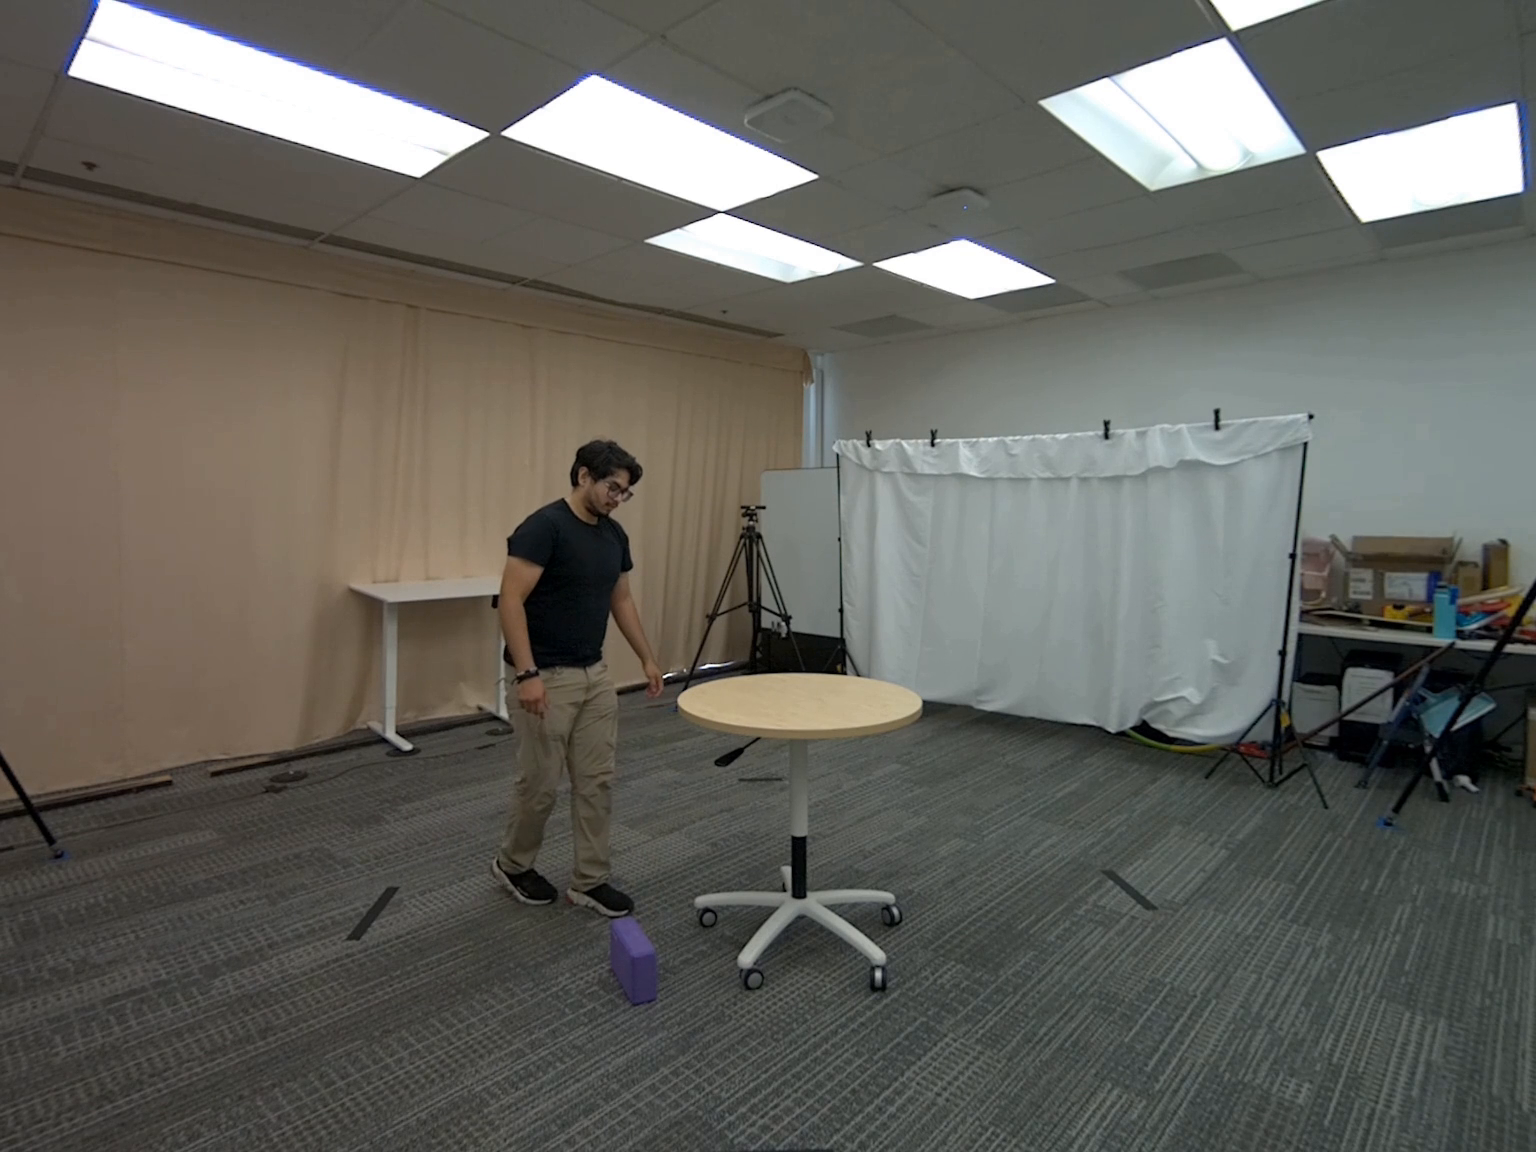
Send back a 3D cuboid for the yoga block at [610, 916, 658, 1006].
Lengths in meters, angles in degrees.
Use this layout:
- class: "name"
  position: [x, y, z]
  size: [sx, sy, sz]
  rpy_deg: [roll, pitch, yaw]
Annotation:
- class: "yoga block"
  position: [-0.391, 1.116, 2.450]
  size: [0.074, 0.149, 0.235]
  rpy_deg: [0, 4, -26]
